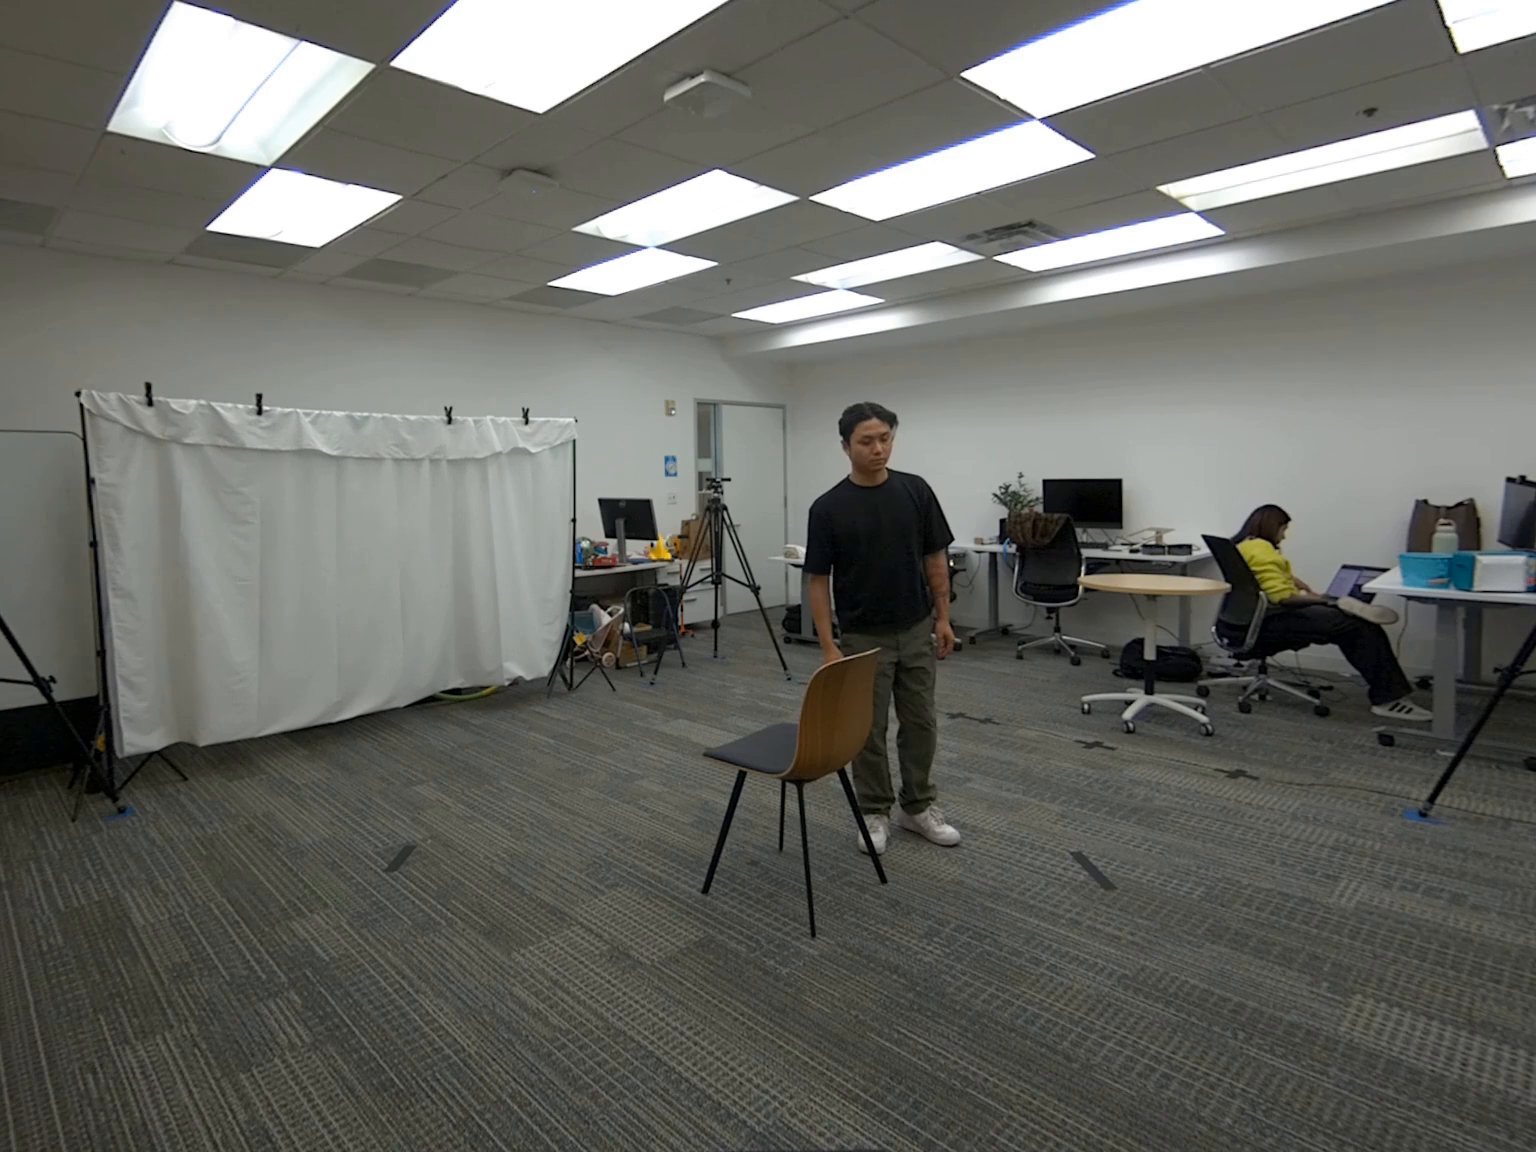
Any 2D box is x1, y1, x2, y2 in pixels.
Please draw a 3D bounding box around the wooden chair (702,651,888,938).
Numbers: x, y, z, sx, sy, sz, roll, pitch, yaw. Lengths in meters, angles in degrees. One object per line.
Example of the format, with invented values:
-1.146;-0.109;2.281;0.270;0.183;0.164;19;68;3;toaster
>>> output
0.080;0.638;2.877;0.540;0.872;0.466;8;9;38;wooden chair
